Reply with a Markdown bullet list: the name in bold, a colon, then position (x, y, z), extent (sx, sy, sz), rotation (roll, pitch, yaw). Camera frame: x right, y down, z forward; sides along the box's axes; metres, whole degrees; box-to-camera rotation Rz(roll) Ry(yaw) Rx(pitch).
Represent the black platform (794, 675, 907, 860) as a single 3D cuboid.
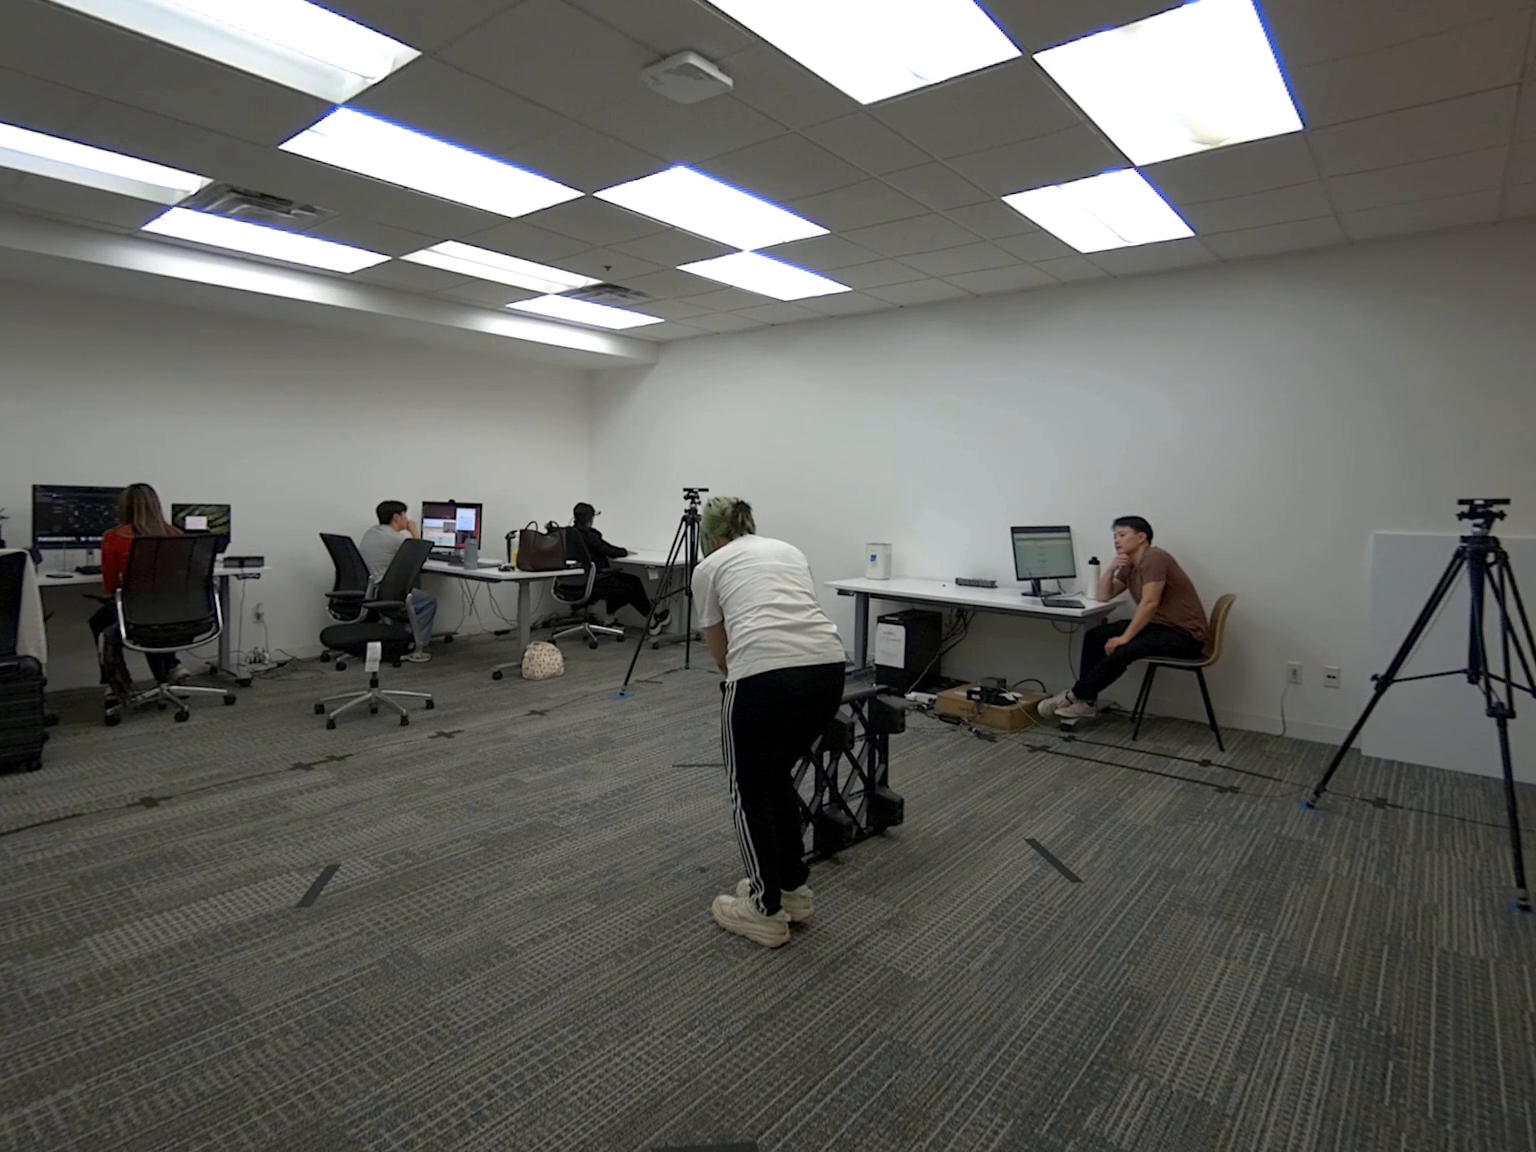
- **black platform**: position (0.252, 0.773, 3.207), extent (0.148, 0.604, 0.781), rotation (2, 4, 44)
